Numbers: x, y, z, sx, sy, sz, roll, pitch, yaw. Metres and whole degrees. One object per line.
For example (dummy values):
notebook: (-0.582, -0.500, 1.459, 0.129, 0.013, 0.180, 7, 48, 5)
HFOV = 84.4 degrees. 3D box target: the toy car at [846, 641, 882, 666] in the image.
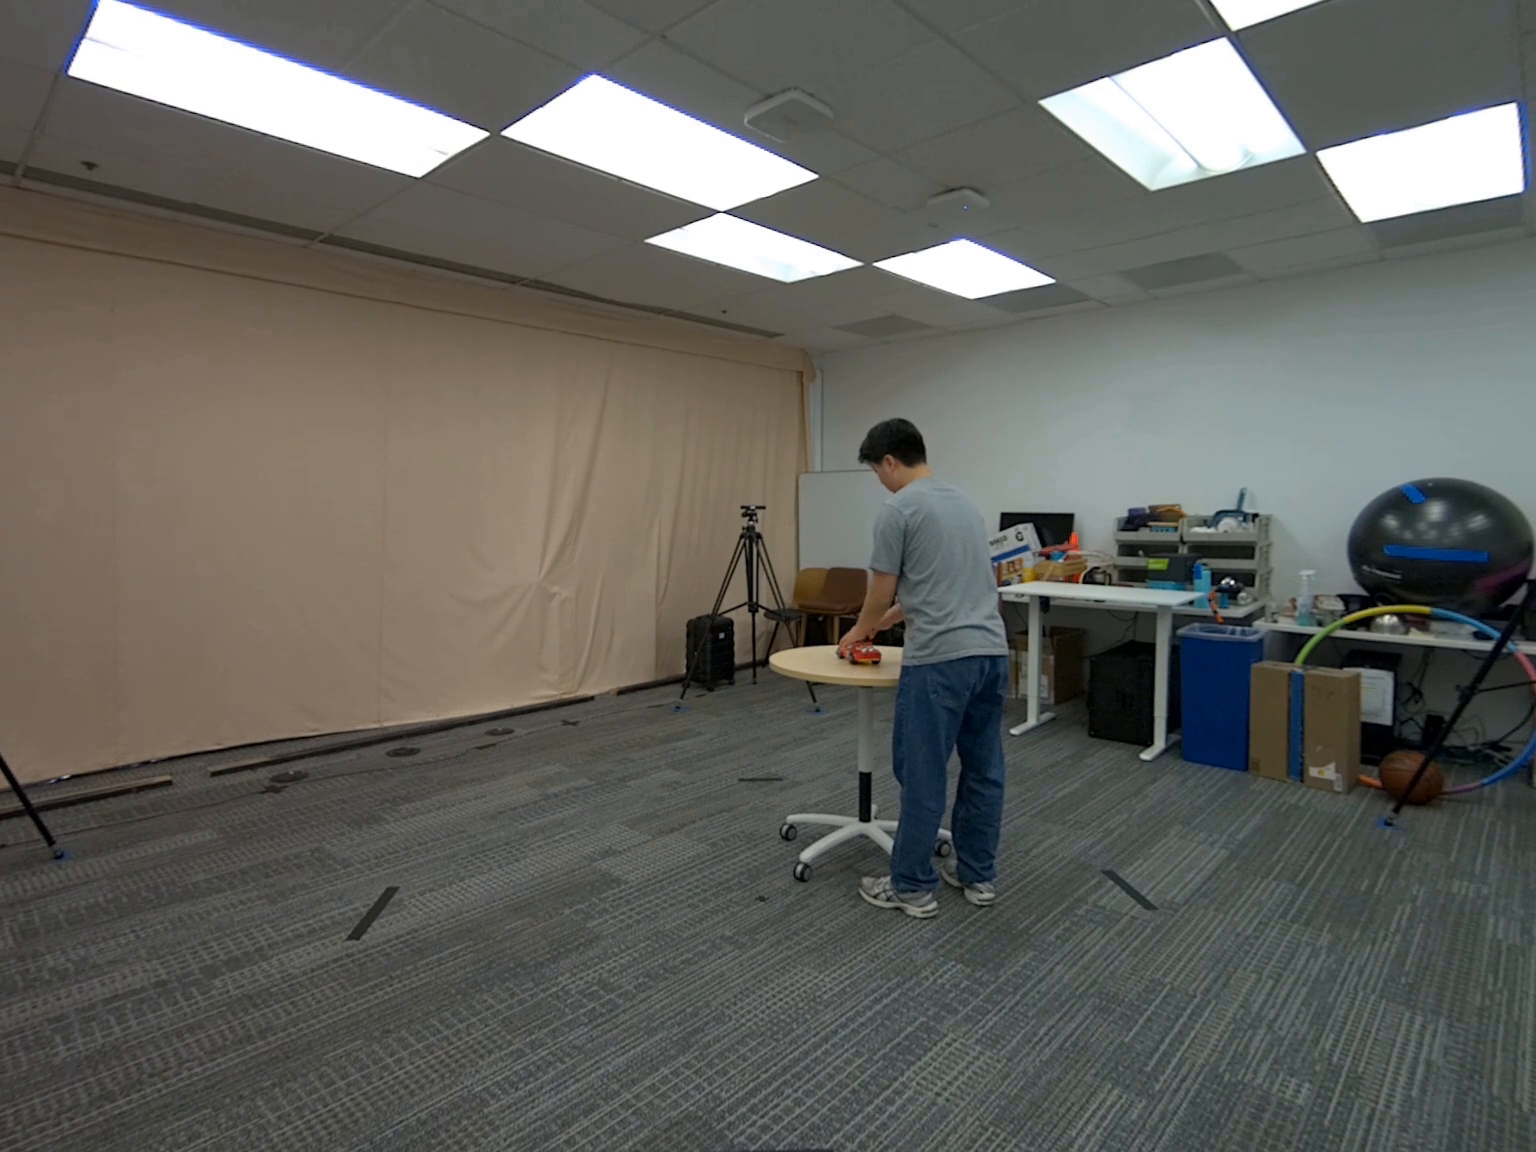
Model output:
toy car: (0.366, 0.302, 3.276, 0.129, 0.084, 0.256, 1, -8, -11)
